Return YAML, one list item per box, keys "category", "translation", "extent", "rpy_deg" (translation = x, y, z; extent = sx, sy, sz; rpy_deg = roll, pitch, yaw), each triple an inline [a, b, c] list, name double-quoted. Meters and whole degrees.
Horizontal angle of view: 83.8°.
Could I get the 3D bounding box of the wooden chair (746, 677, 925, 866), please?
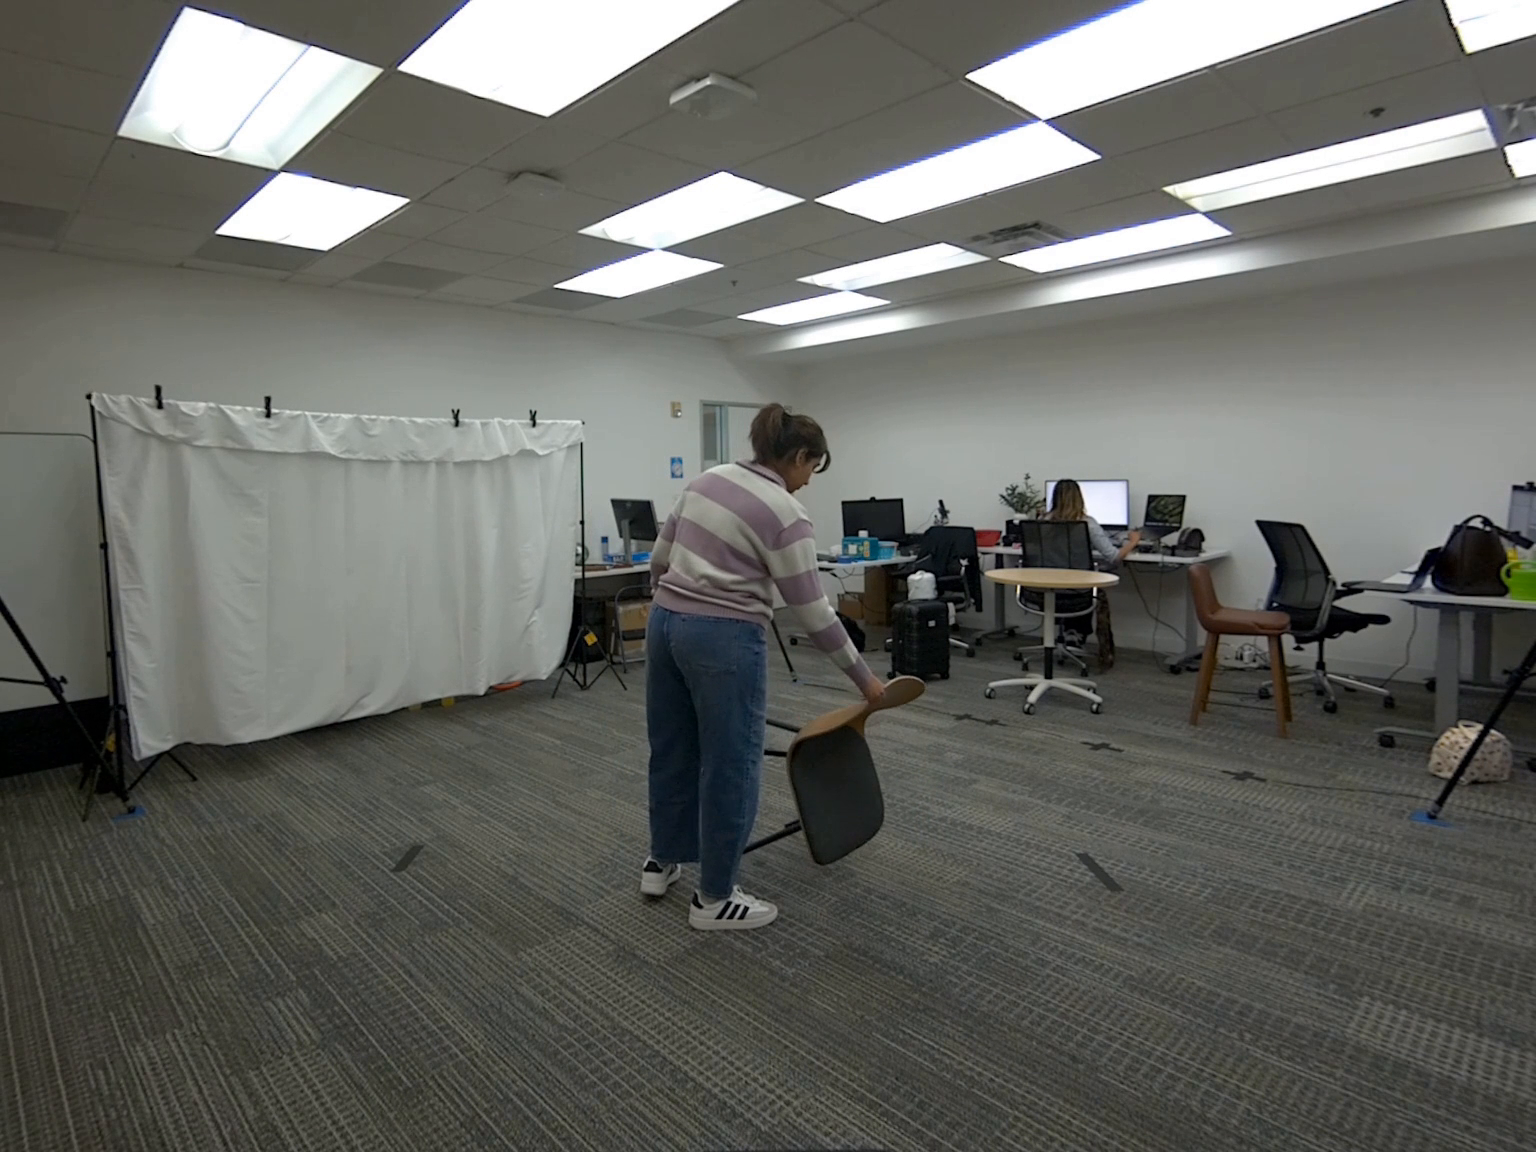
- category: "wooden chair"
  translation: [0.201, 0.714, 3.009]
  extent: [0.890, 0.530, 0.465]
  rpy_deg: [-24, -13, 39]
